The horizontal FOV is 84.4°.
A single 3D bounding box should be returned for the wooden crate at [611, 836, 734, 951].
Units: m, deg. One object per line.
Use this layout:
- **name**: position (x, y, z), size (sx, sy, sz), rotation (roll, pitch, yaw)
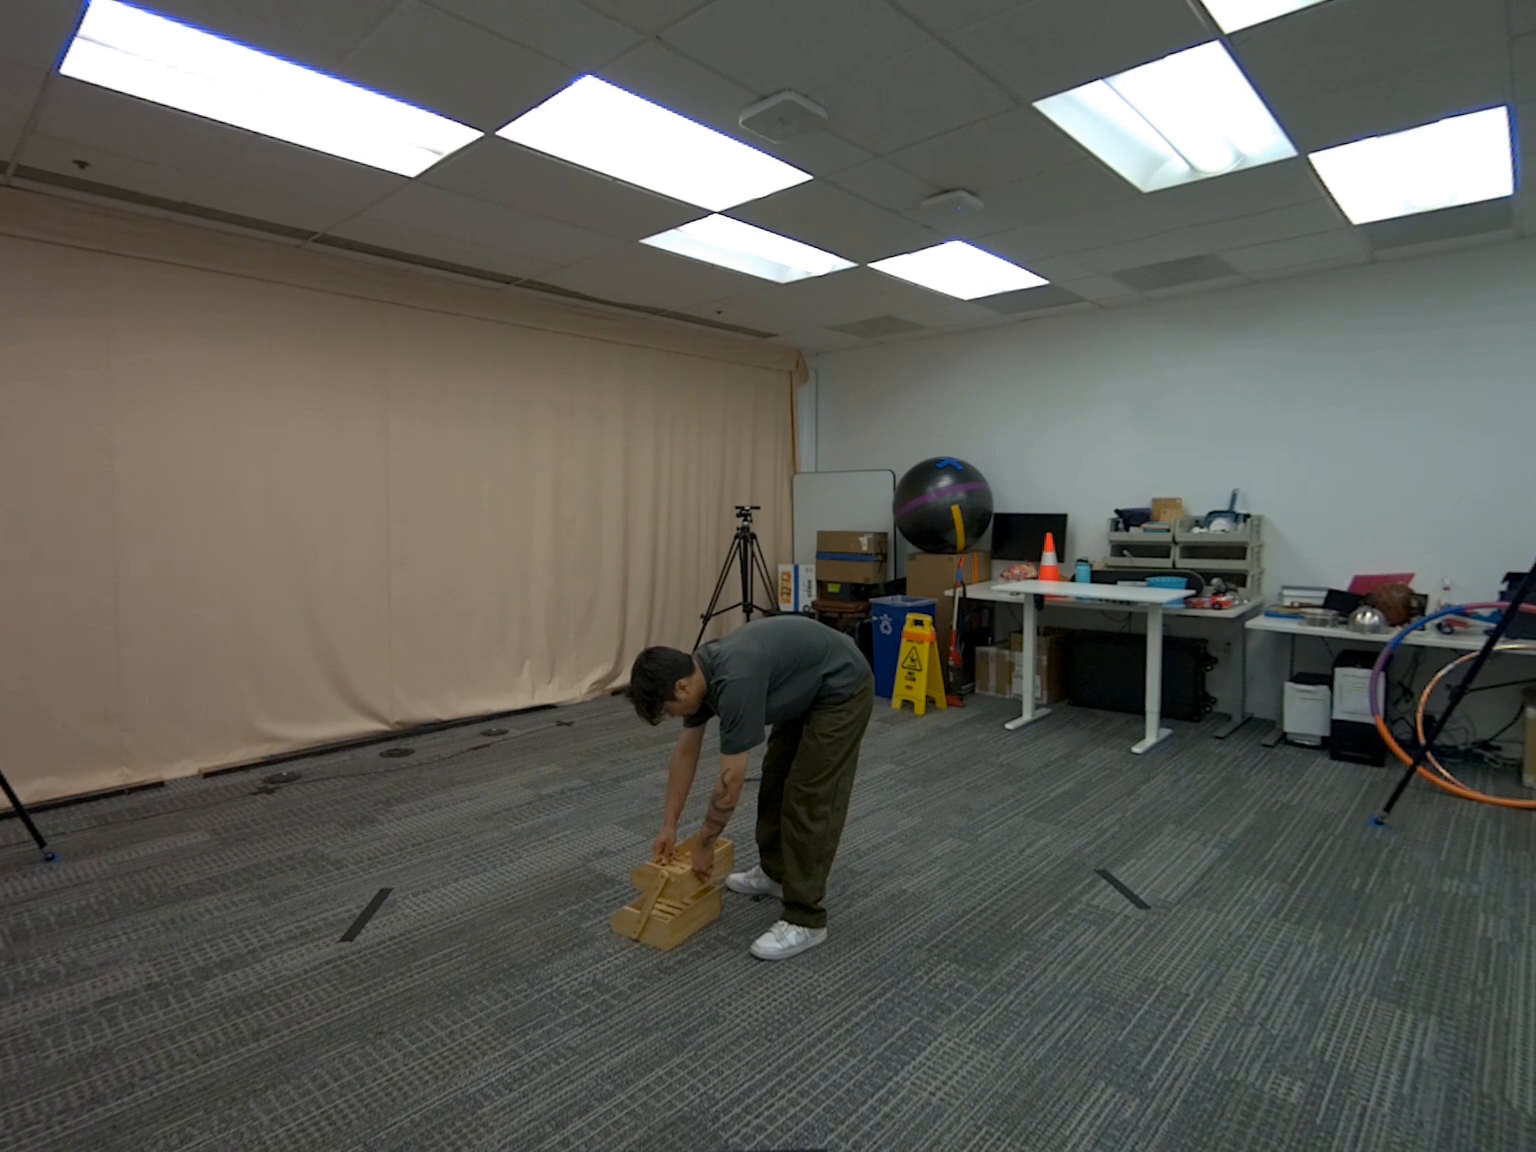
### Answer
- **wooden crate**: position (-0.324, 1.029, 2.803), size (0.311, 0.272, 0.315), rotation (3, 5, 33)
